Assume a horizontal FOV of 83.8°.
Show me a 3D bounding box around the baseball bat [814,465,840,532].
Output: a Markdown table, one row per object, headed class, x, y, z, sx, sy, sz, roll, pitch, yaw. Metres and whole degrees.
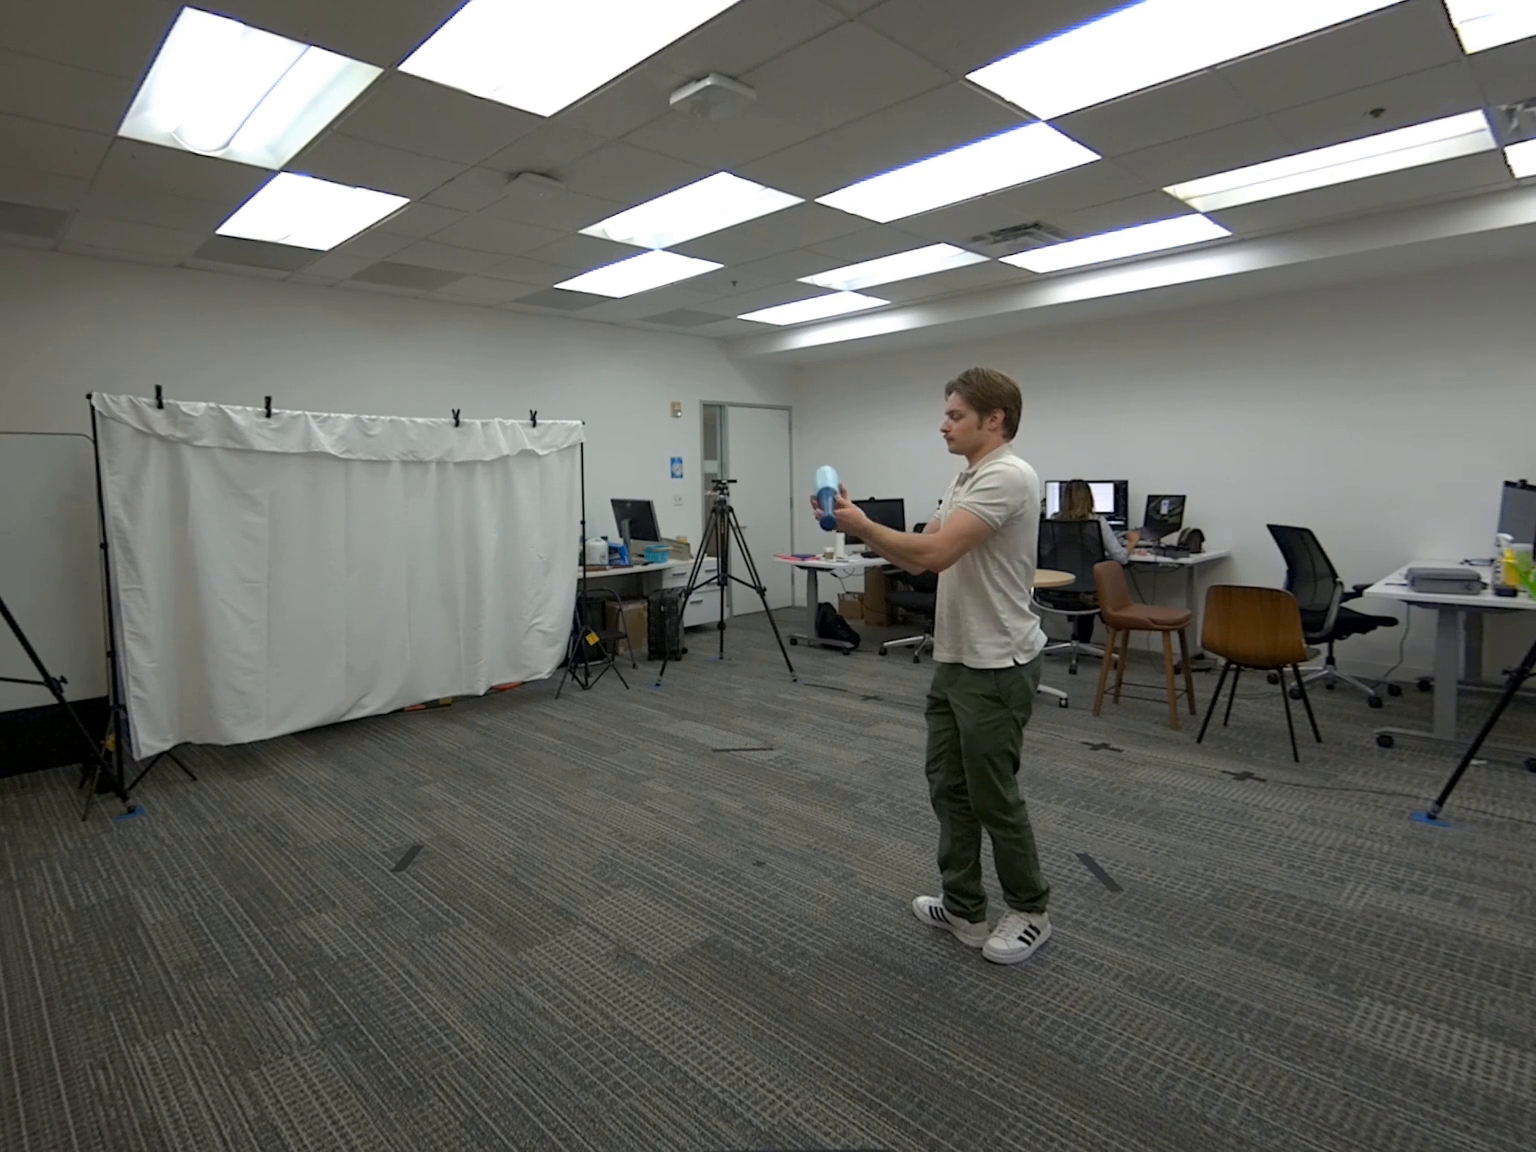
| class | x | y | z | sx | sy | sz | roll | pitch | yaw |
| --- | --- | --- | --- | --- | --- | --- | --- | --- | --- |
| baseball bat | 0.197 | -0.238 | 2.606 | 0.089 | 0.087 | 0.550 | -1 | 20 | 3 |
